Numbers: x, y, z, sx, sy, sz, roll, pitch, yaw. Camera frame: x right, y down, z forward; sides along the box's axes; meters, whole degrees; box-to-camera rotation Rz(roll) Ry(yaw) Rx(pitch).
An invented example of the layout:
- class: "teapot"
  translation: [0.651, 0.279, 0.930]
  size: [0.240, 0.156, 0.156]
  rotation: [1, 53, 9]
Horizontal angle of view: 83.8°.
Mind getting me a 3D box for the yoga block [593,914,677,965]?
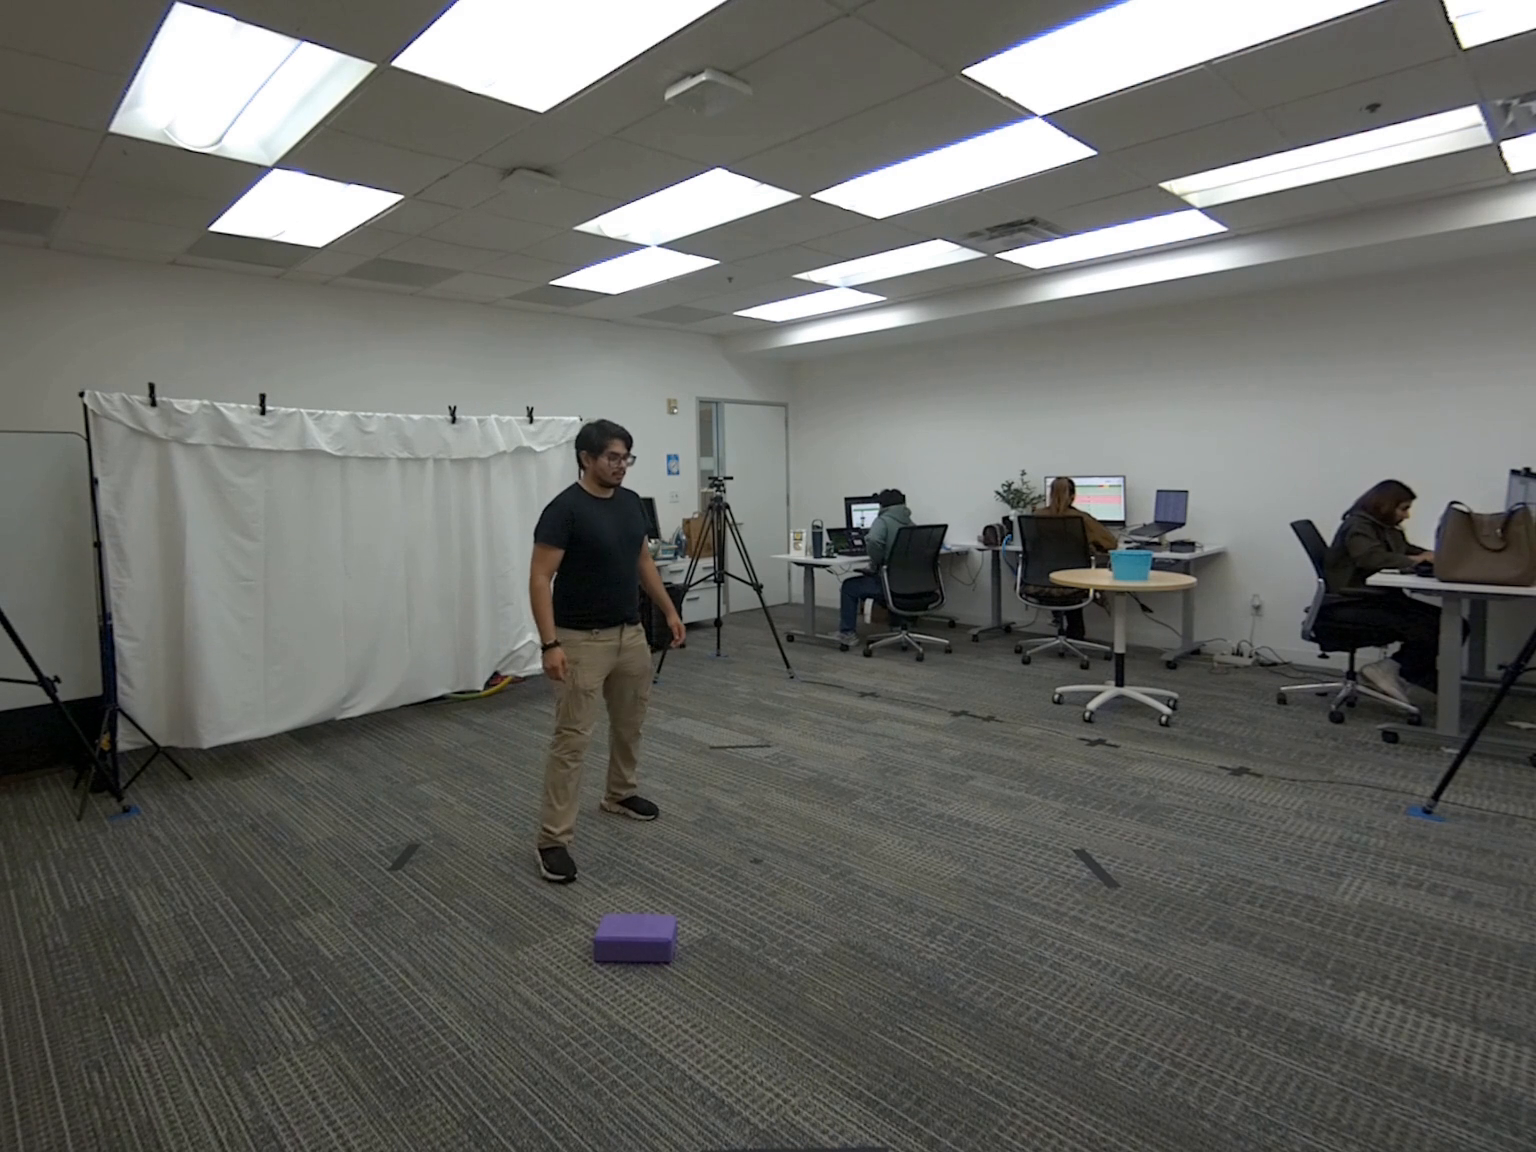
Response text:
- class: "yoga block"
  translation: [-0.384, 1.072, 2.537]
  size: [0.230, 0.076, 0.148]
  rotation: [-1, 2, 3]
